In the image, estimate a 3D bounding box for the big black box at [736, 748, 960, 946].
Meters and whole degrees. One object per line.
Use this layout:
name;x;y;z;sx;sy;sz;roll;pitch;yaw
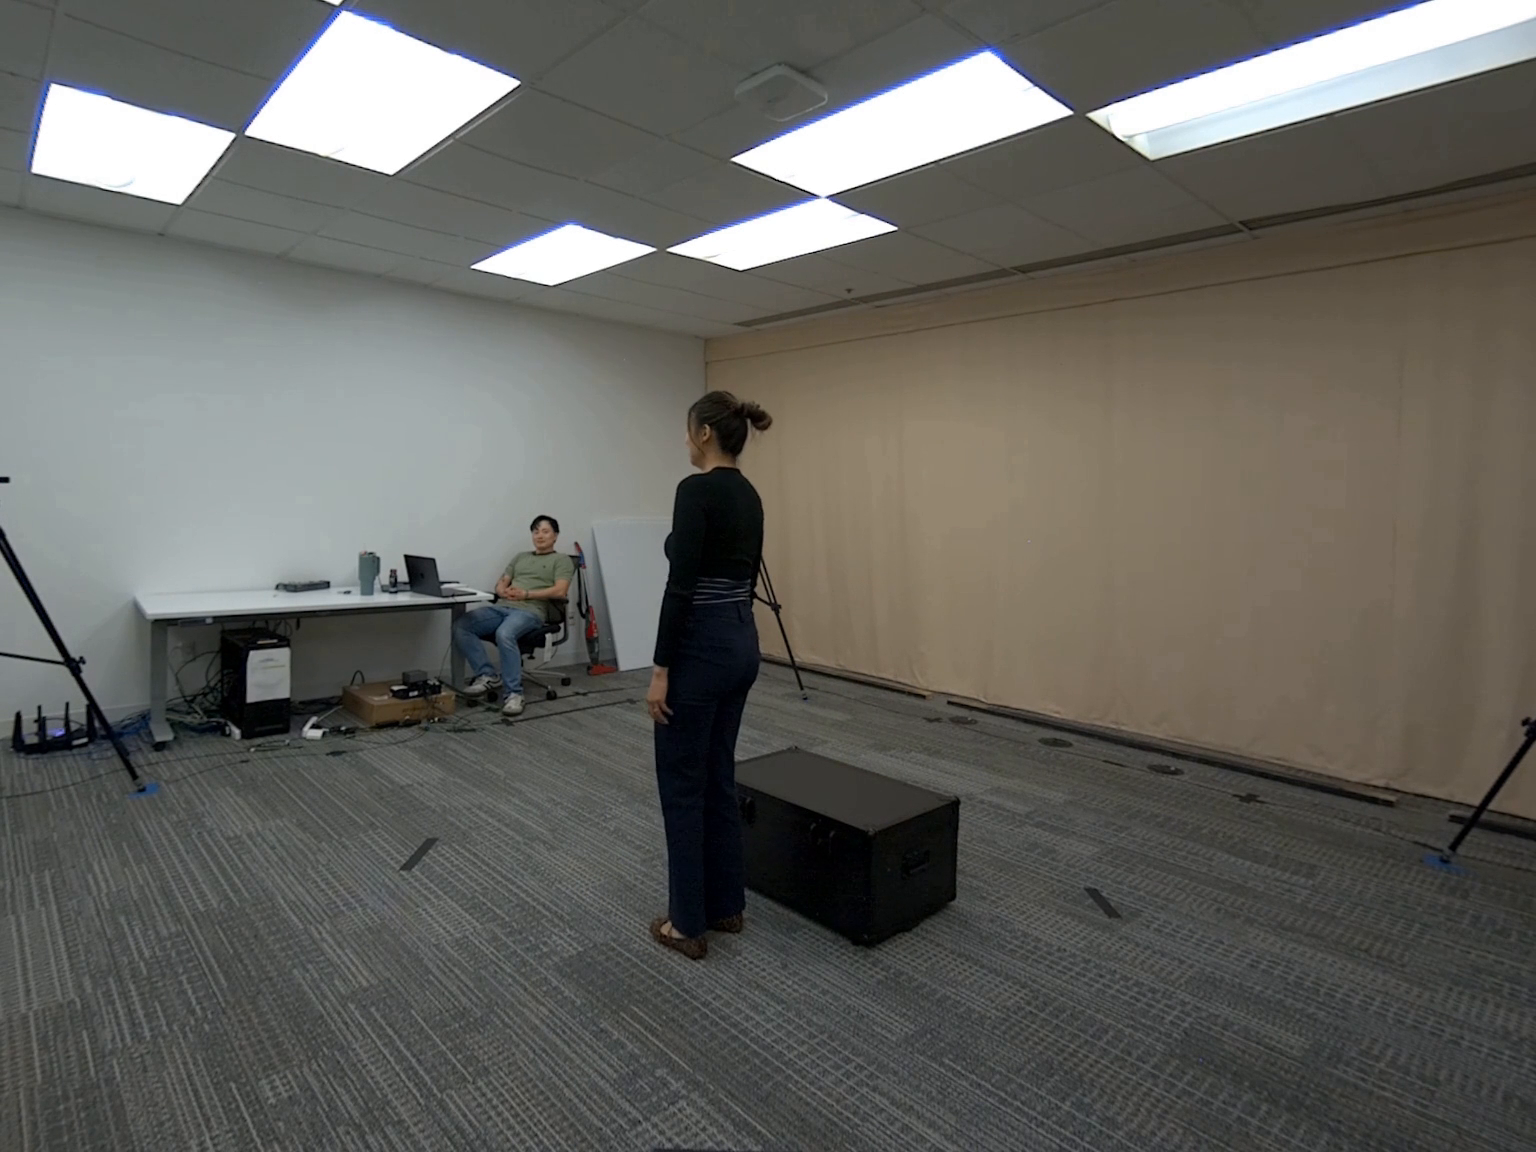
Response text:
big black box;0.220;0.932;2.994;0.509;0.395;0.883;-4;6;-43
